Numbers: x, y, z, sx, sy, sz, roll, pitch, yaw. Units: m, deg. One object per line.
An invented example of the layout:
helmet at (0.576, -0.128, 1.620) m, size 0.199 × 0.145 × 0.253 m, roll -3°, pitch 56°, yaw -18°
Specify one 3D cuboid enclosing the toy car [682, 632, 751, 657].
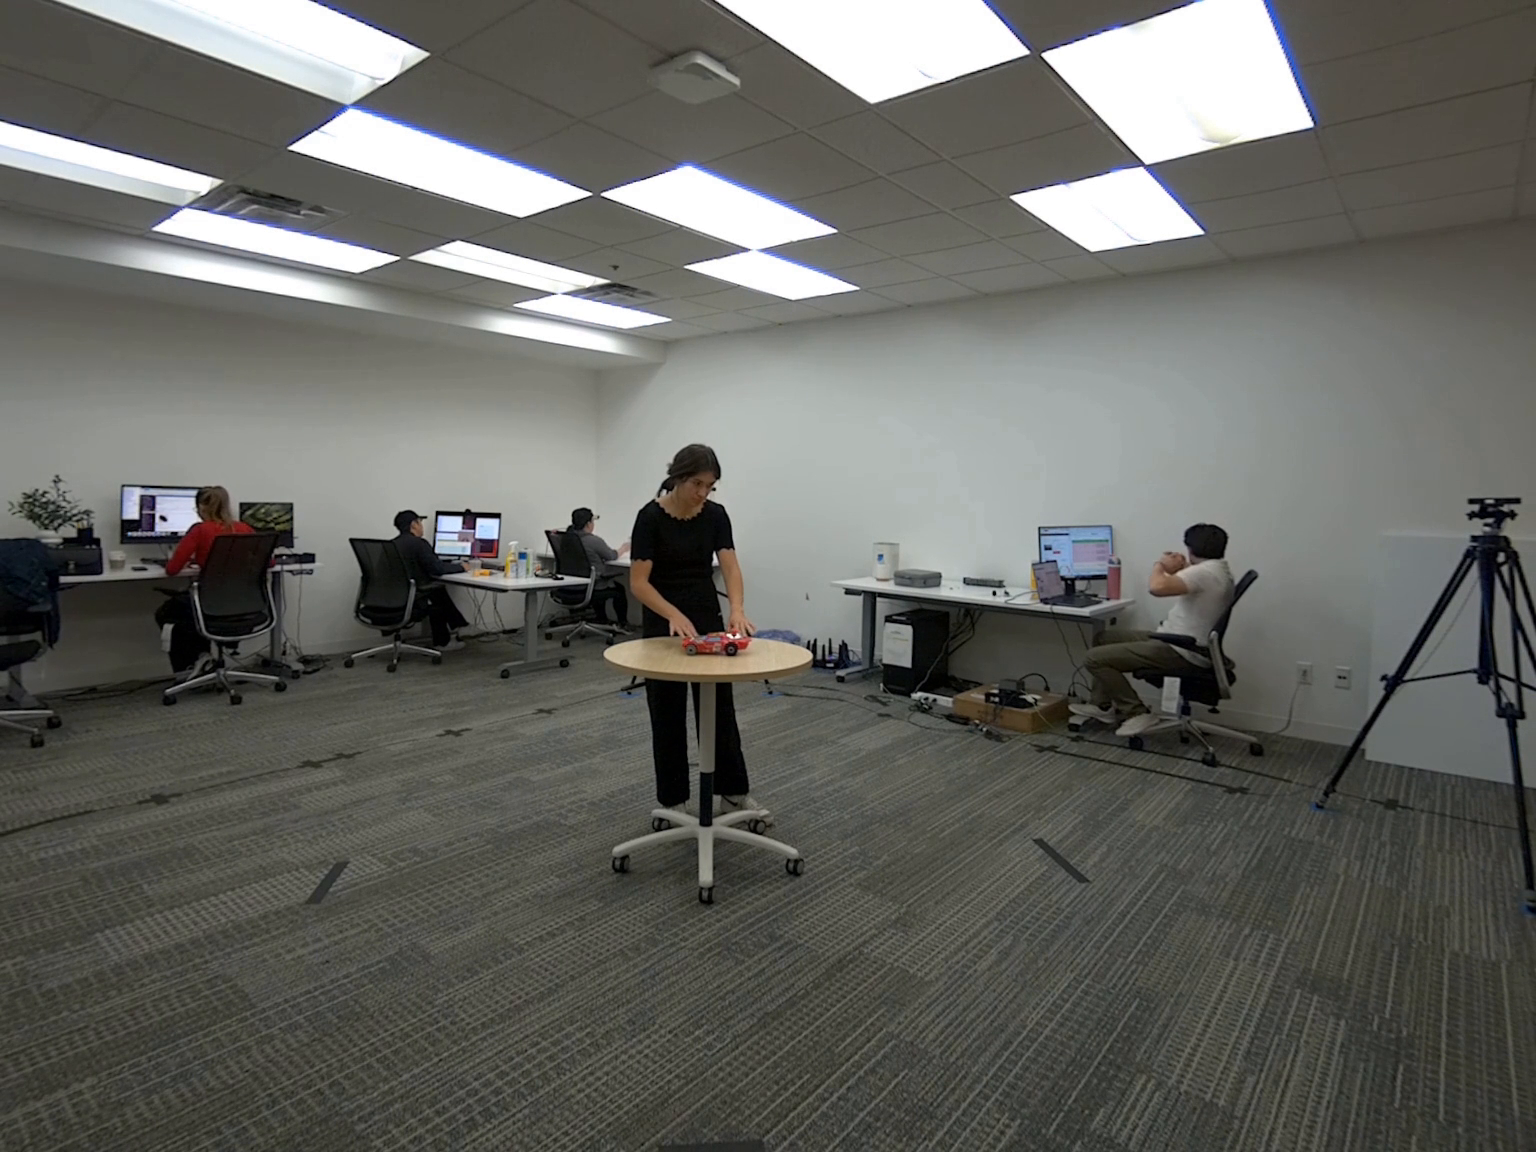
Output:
toy car at (-0.194, 0.249, 3.115) m, size 0.255 × 0.083 × 0.131 m, roll -11°, pitch 5°, yaw 1°
